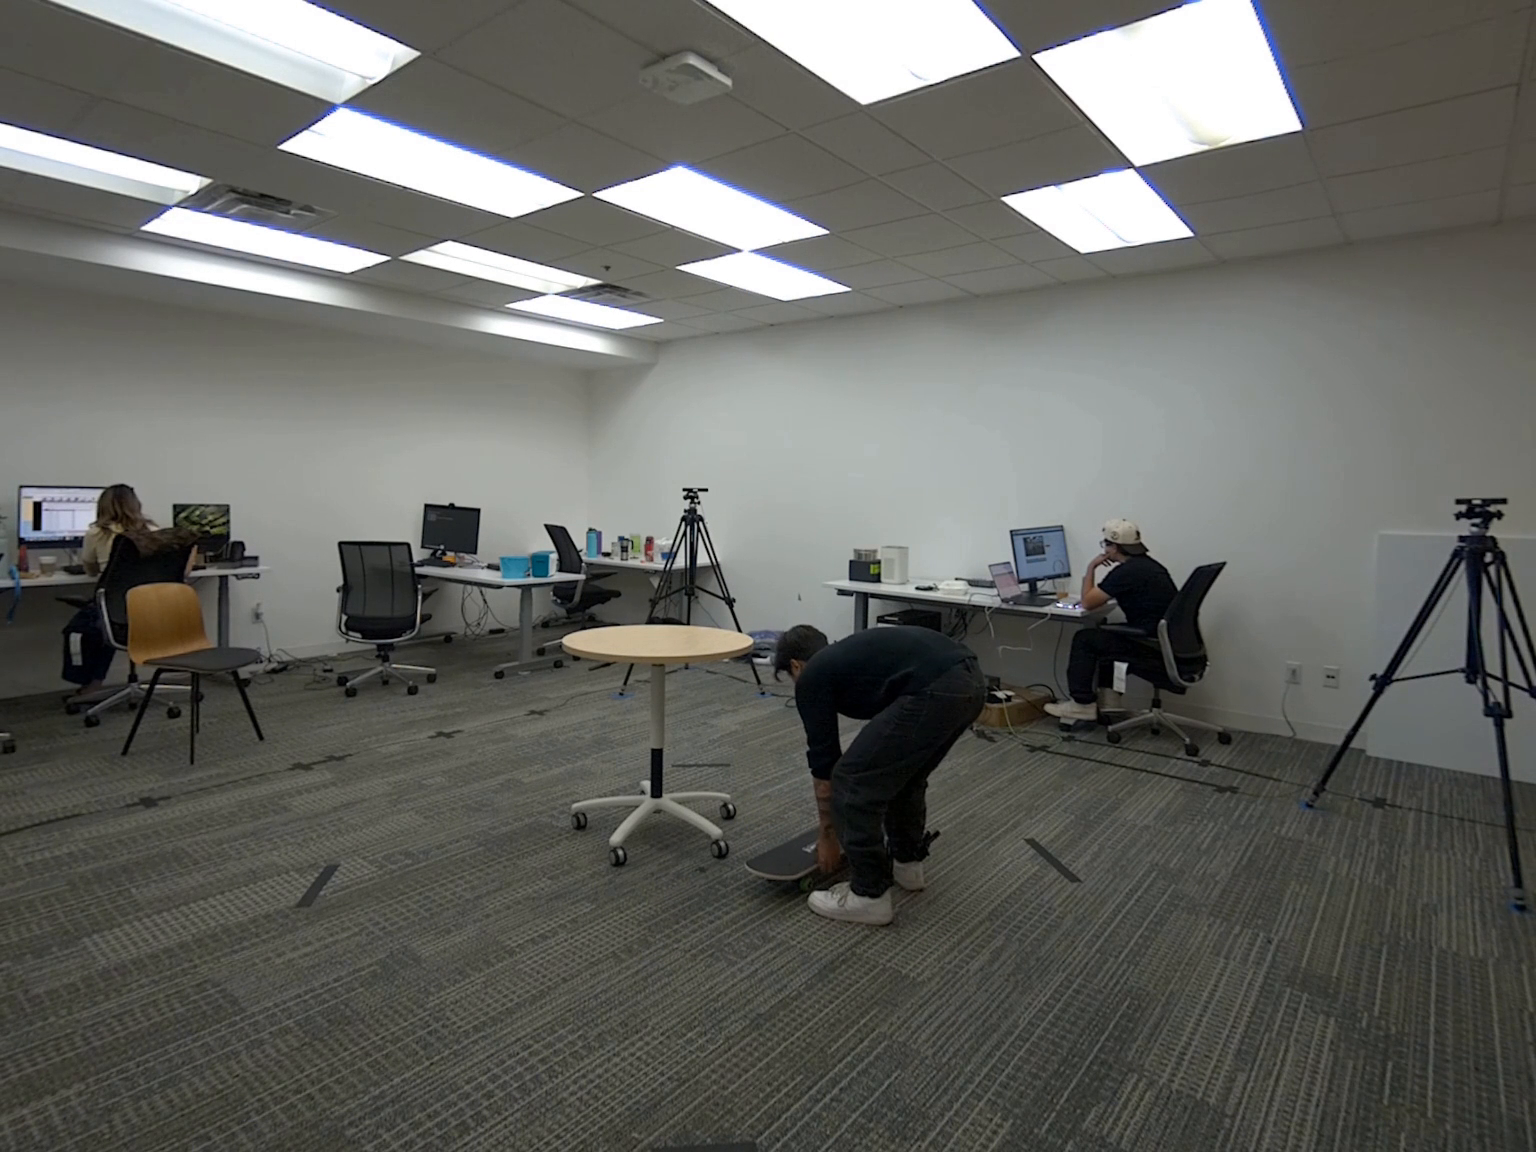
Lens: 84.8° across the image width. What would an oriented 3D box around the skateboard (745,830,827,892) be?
[{"bbox_3d":[0.197,1.015,3.154,0.200,0.110,0.762,6,7,40],"label":"skateboard"}]
